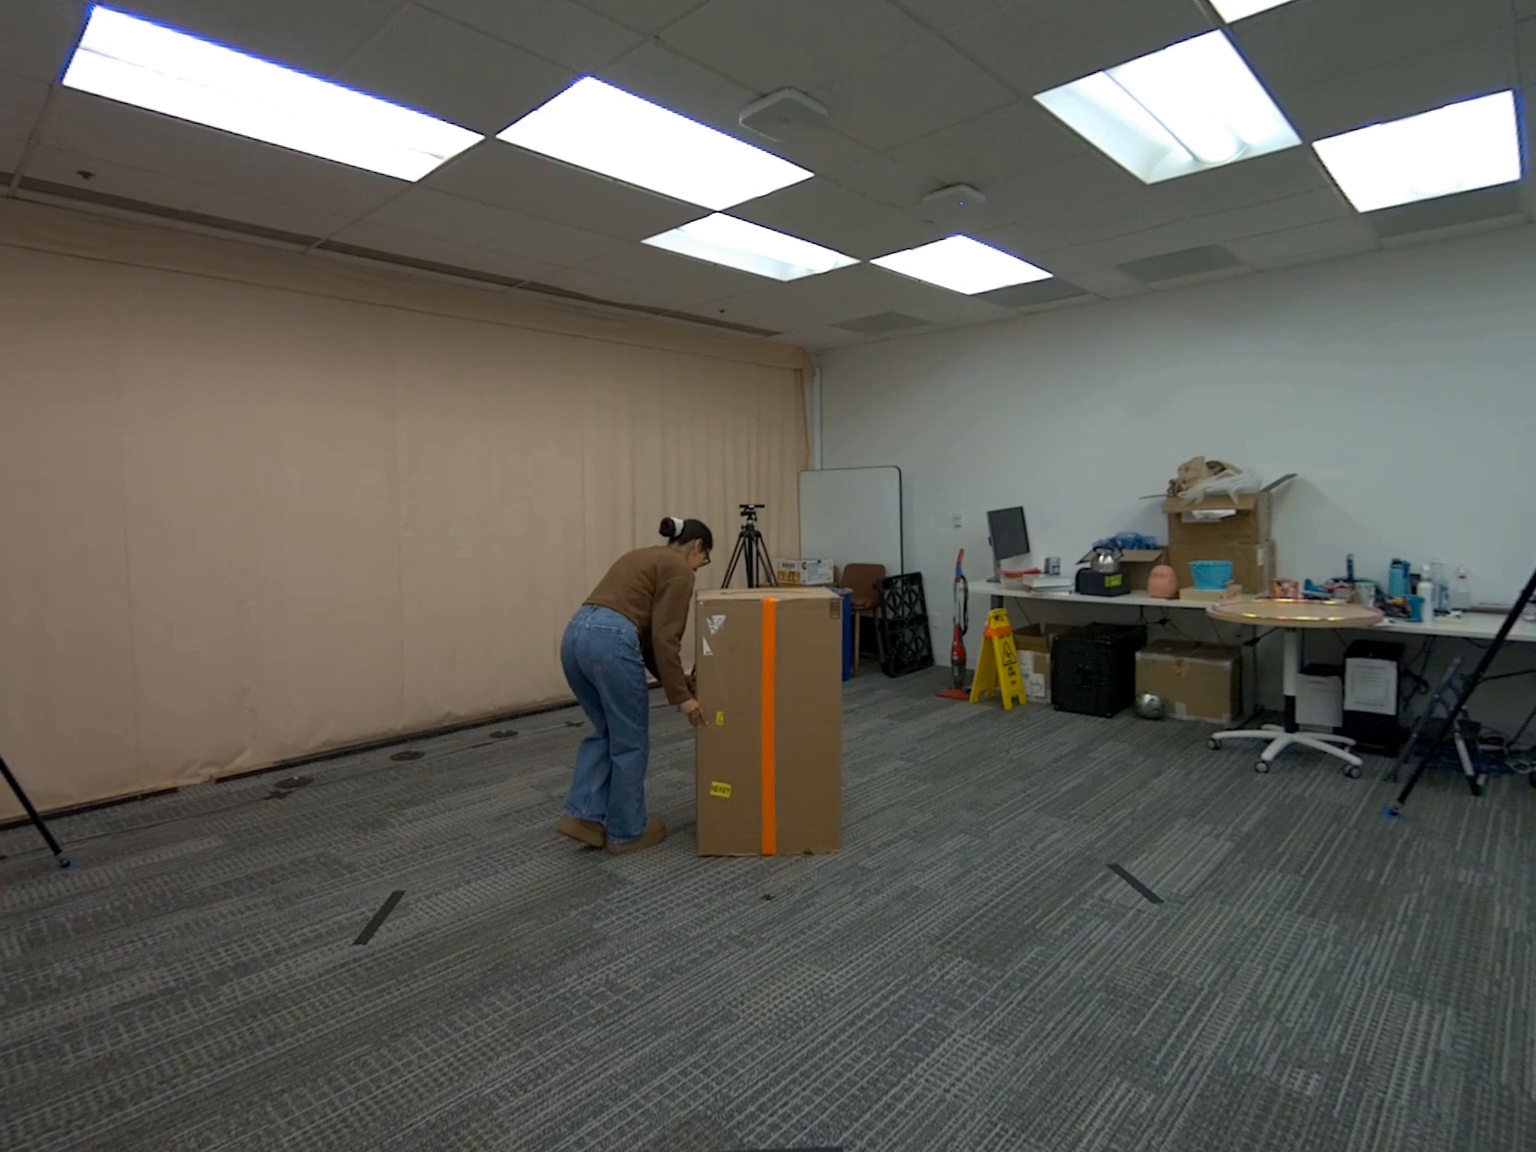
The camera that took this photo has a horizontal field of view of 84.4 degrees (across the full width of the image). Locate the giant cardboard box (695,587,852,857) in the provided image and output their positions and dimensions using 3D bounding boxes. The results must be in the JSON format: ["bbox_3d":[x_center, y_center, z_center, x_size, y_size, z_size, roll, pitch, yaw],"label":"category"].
[{"bbox_3d":[-0.014,0.583,3.525,0.575,1.024,0.429,0,3,-5],"label":"giant cardboard box"}]
